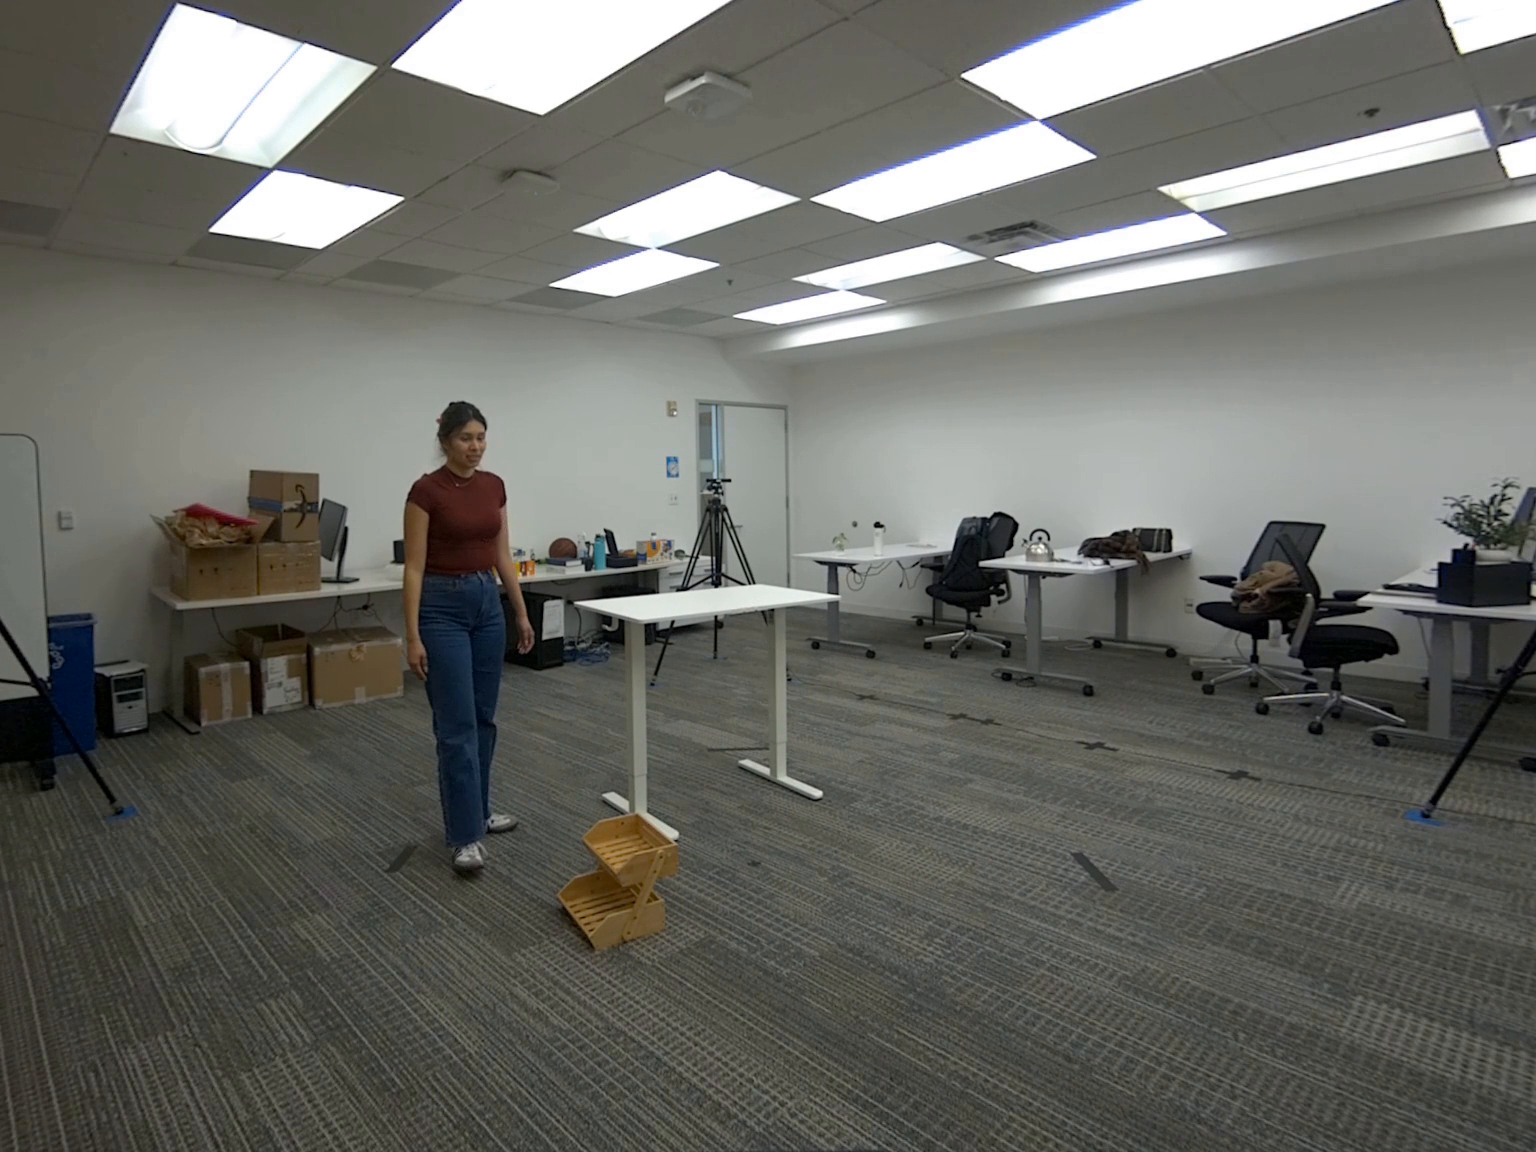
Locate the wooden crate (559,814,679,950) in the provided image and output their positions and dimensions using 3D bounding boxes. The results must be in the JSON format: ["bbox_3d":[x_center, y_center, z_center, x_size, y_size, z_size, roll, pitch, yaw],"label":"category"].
[{"bbox_3d":[-0.486,0.963,2.732,0.295,0.272,0.334,-4,6,-31],"label":"wooden crate"}]
